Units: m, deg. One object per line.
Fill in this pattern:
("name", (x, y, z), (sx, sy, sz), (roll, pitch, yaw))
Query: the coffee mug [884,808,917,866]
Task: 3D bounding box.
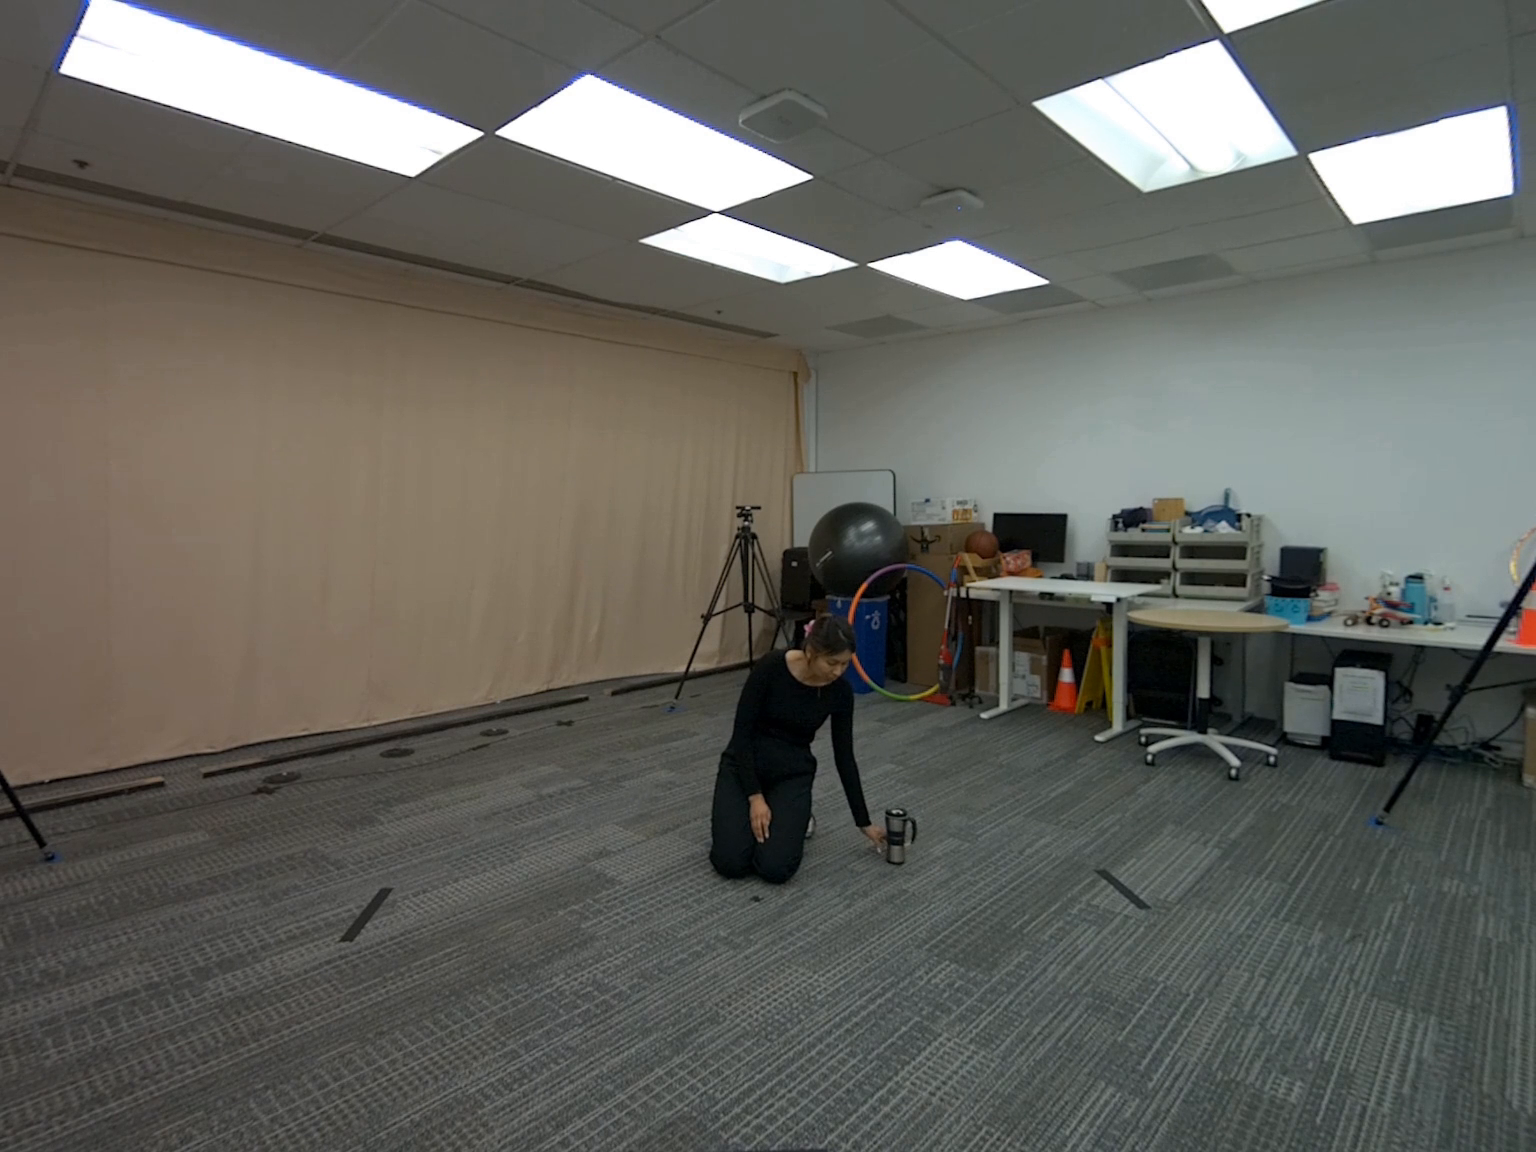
("coffee mug", (0.523, 1.023, 3.275), (0.085, 0.204, 0.125), (2, -6, -34))
